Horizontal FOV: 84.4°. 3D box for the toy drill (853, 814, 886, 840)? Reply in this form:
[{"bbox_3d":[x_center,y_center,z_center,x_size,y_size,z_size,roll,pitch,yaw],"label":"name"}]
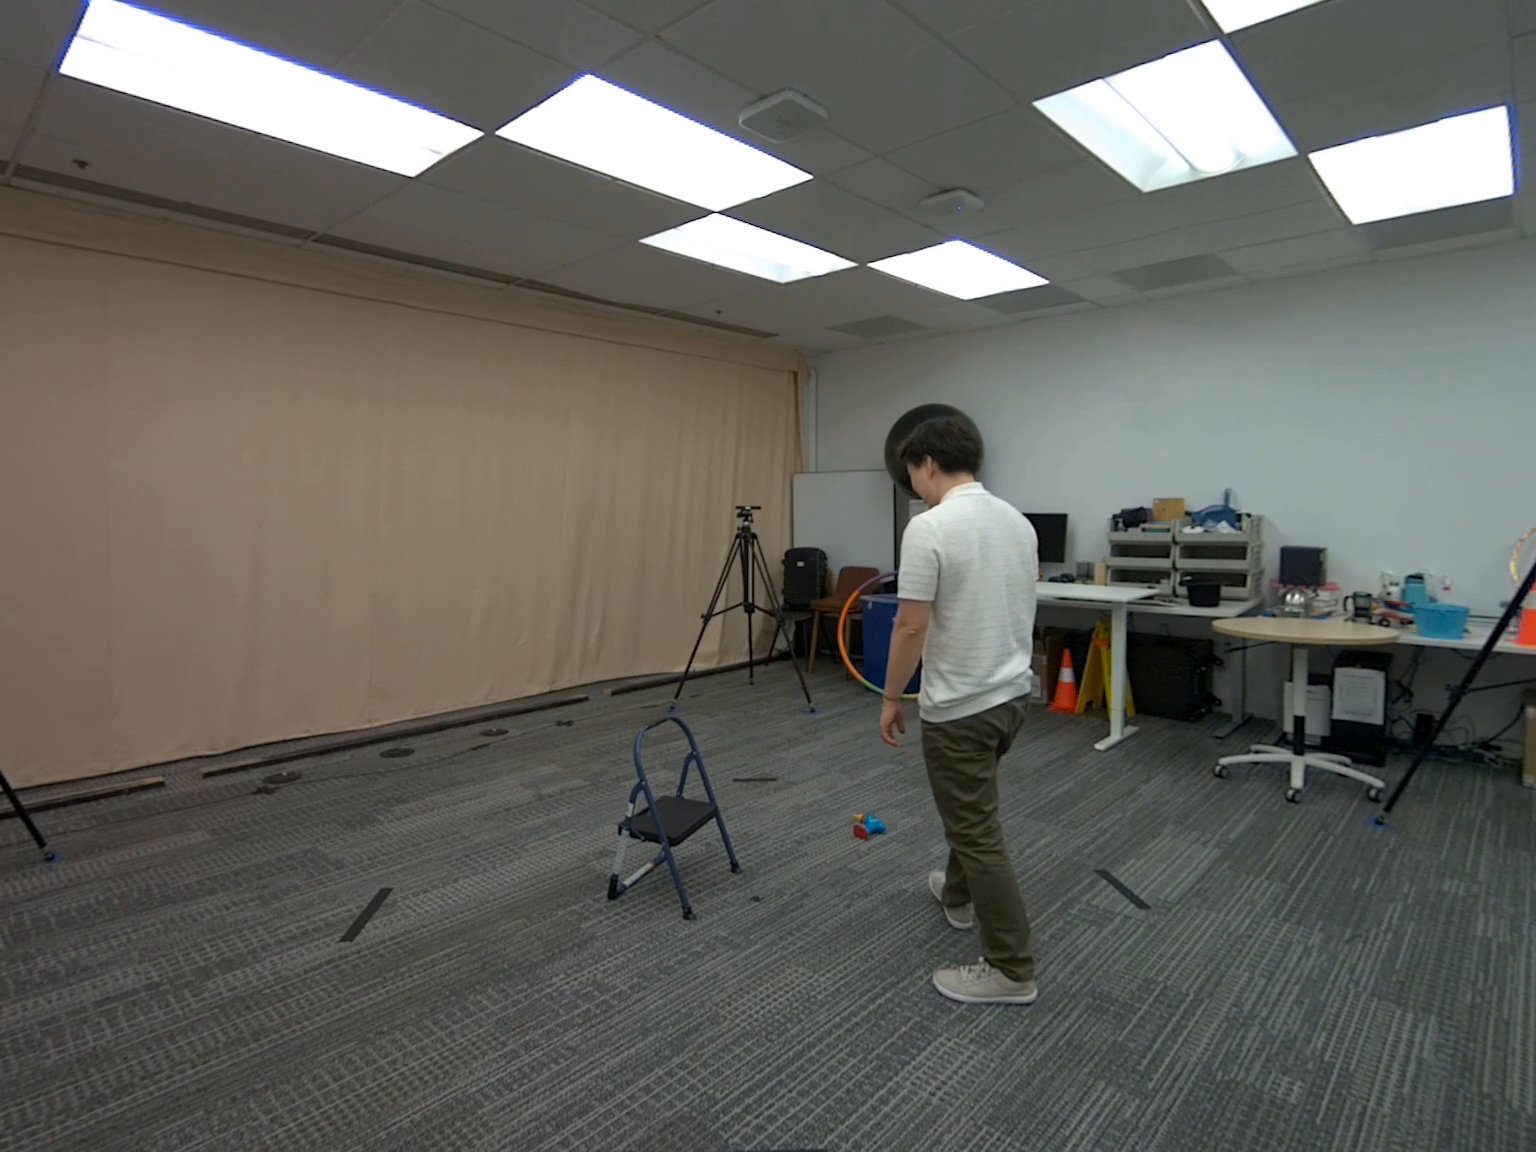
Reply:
[{"bbox_3d":[0.418,1.064,3.604,0.142,0.061,0.176,-6,13,-43],"label":"toy drill"}]
